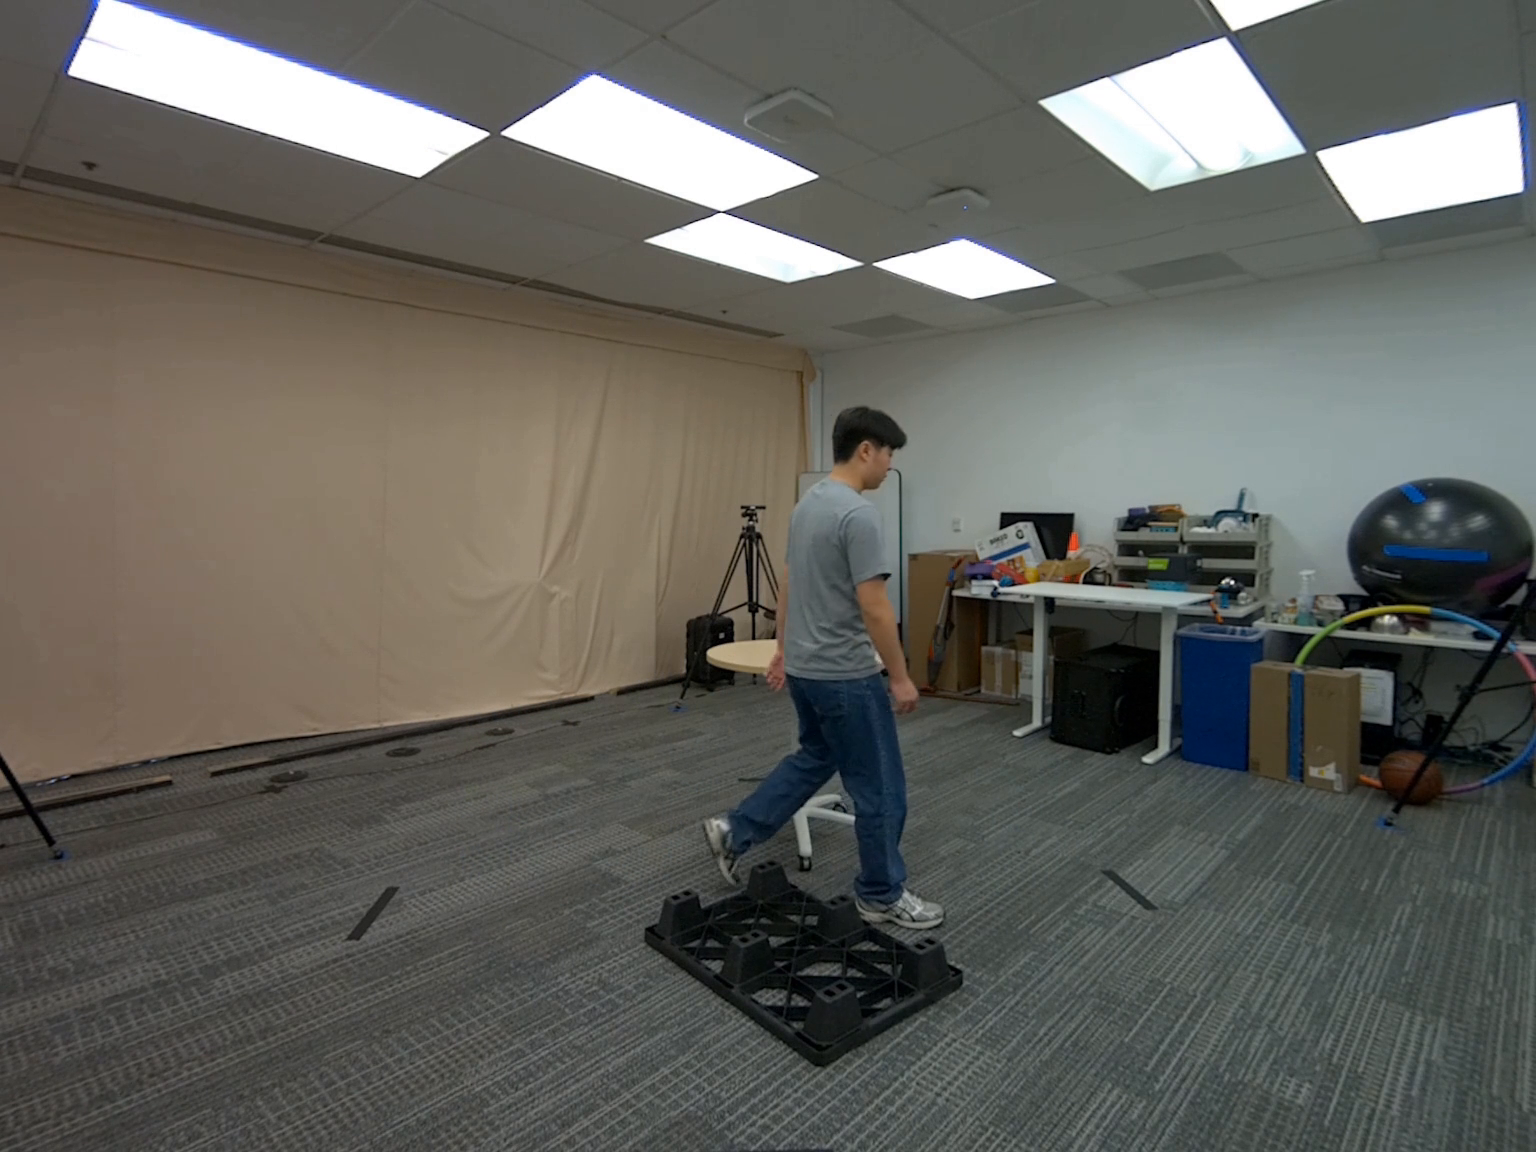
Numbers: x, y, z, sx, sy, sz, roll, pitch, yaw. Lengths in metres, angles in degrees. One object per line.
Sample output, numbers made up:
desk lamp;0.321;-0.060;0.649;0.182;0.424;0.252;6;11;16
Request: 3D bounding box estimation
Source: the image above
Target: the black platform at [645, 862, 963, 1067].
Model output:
black platform;0.090;1.112;2.566;0.587;0.143;0.832;-5;7;-40
